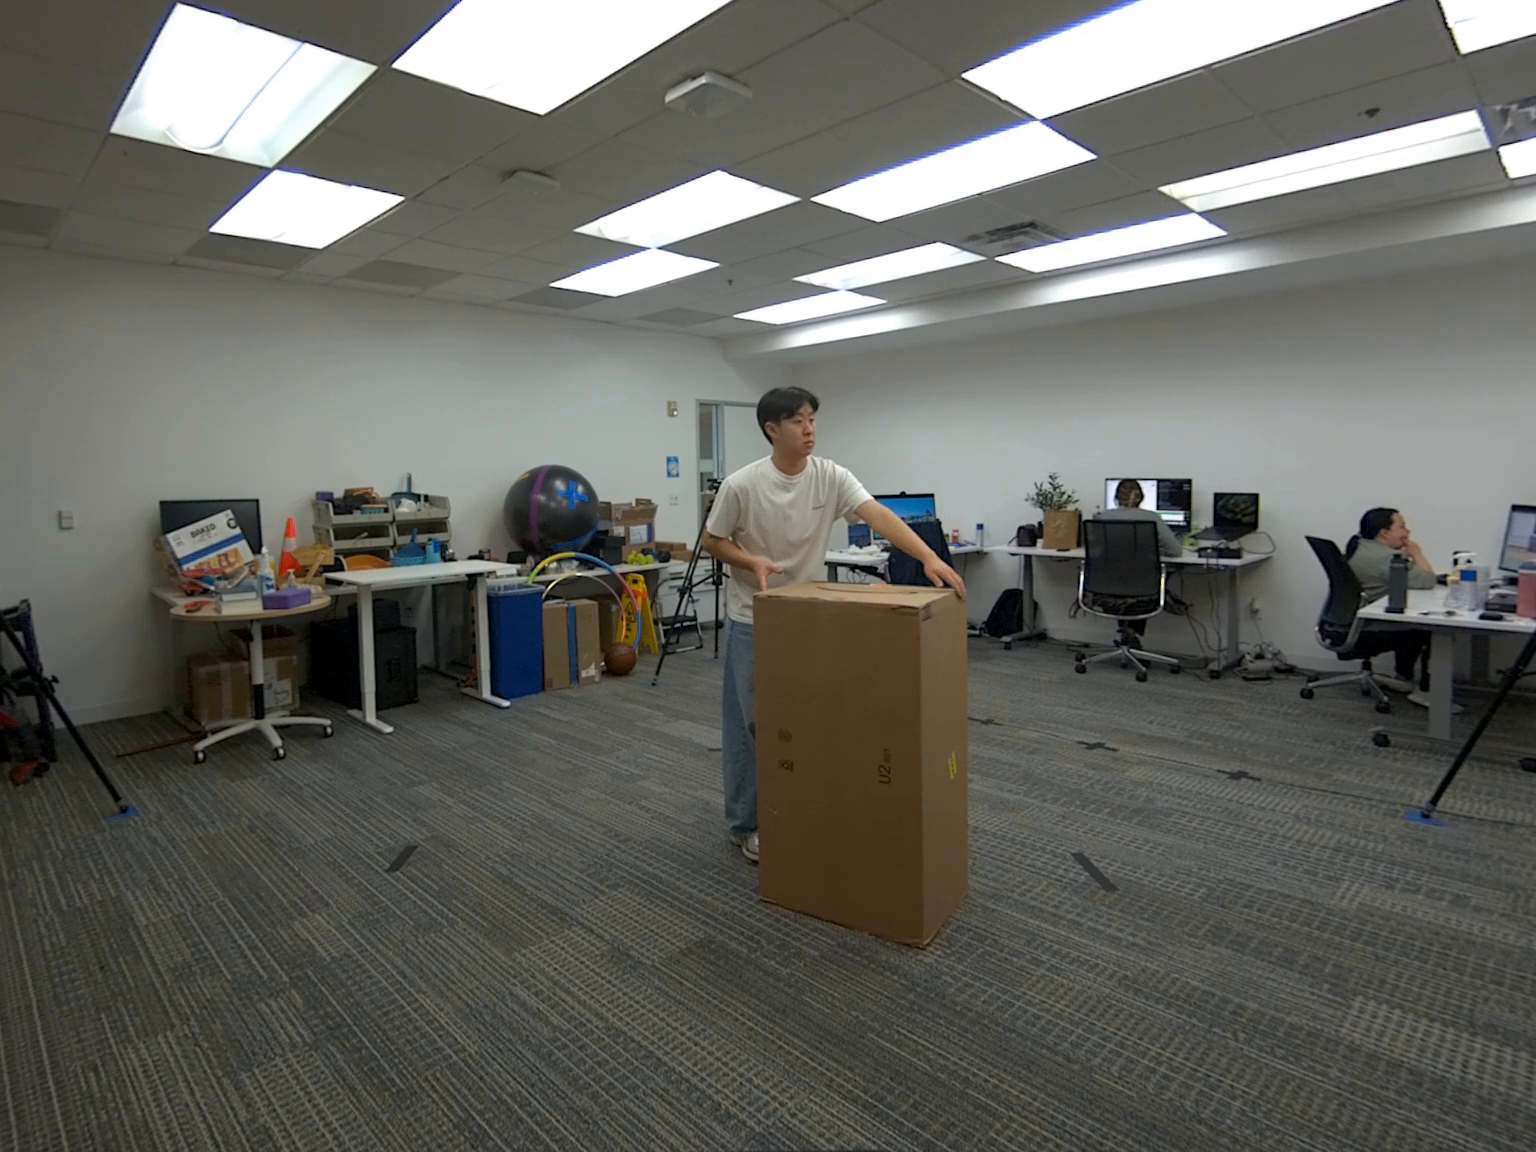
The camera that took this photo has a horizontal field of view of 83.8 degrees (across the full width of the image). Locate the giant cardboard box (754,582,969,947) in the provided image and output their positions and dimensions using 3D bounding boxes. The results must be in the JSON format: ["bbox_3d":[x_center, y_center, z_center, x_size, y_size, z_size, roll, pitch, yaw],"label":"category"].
[{"bbox_3d":[0.318,0.561,2.815,0.593,1.022,0.416,1,4,33],"label":"giant cardboard box"}]
